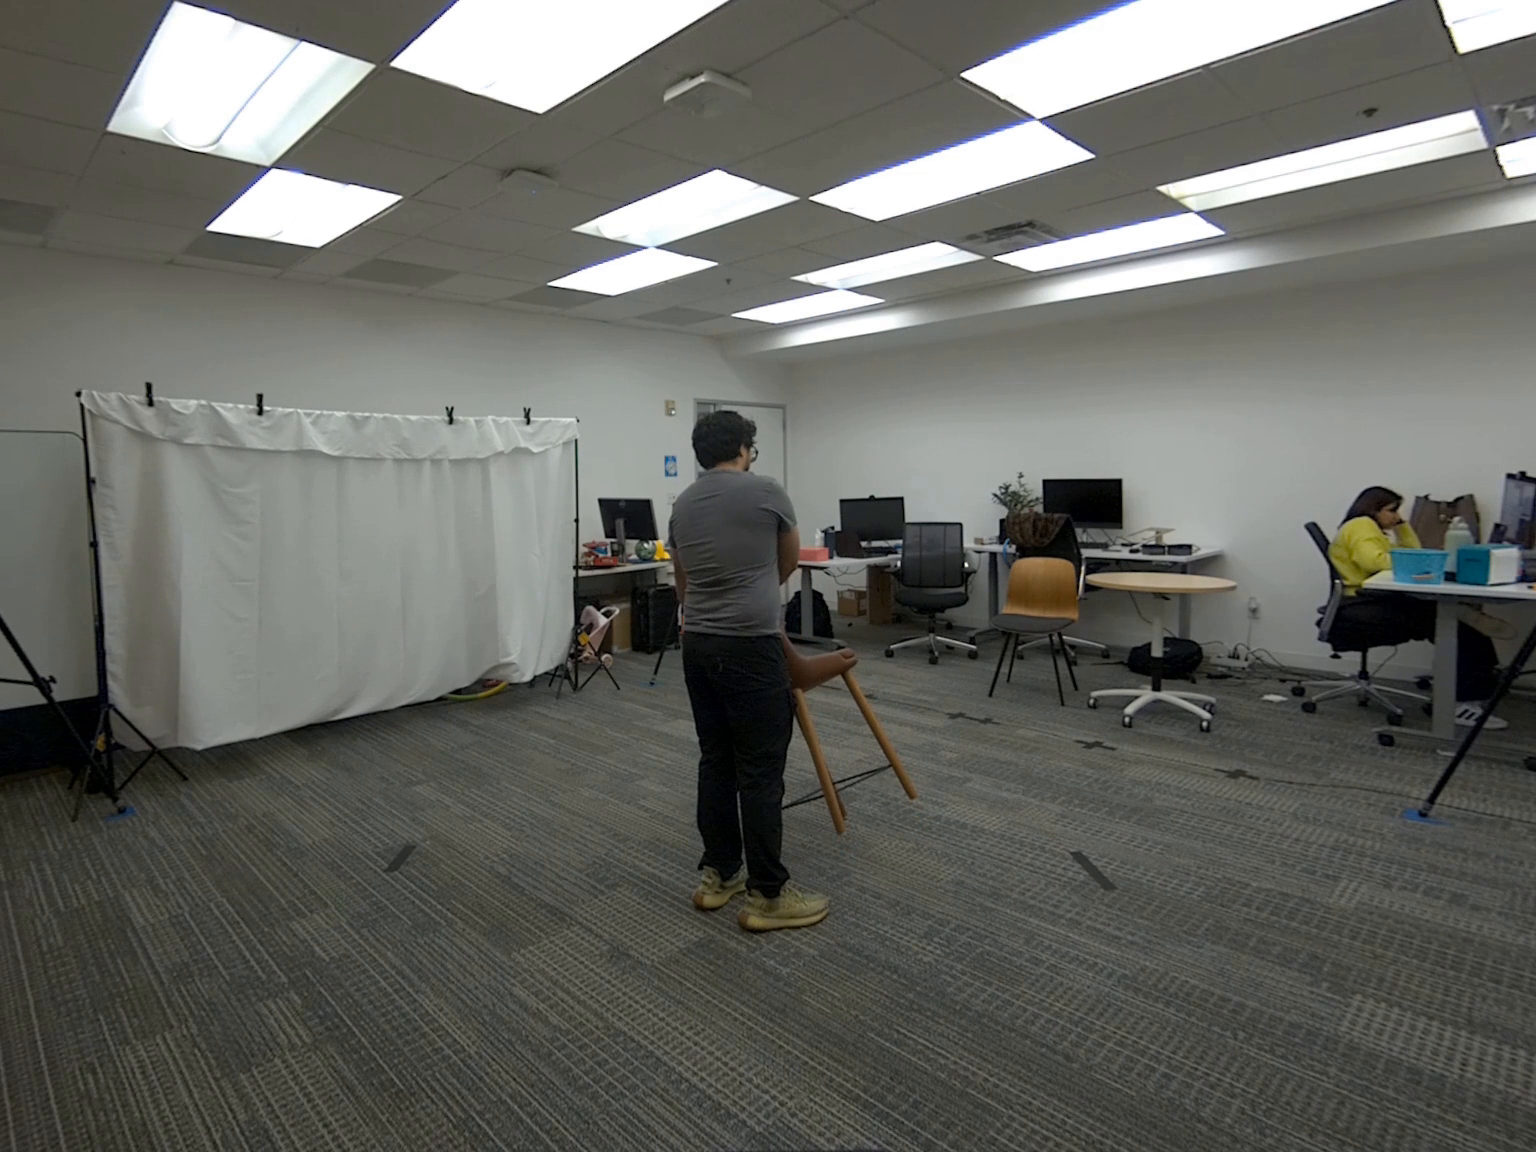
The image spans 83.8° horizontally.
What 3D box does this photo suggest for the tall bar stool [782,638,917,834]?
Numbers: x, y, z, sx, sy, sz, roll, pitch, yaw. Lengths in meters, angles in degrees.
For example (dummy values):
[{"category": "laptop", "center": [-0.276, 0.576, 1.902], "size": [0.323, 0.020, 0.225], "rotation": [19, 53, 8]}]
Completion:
[{"category": "tall bar stool", "center": [0.131, 0.541, 3.329], "size": [0.456, 0.903, 0.461], "rotation": [-10, -17, -45]}]
